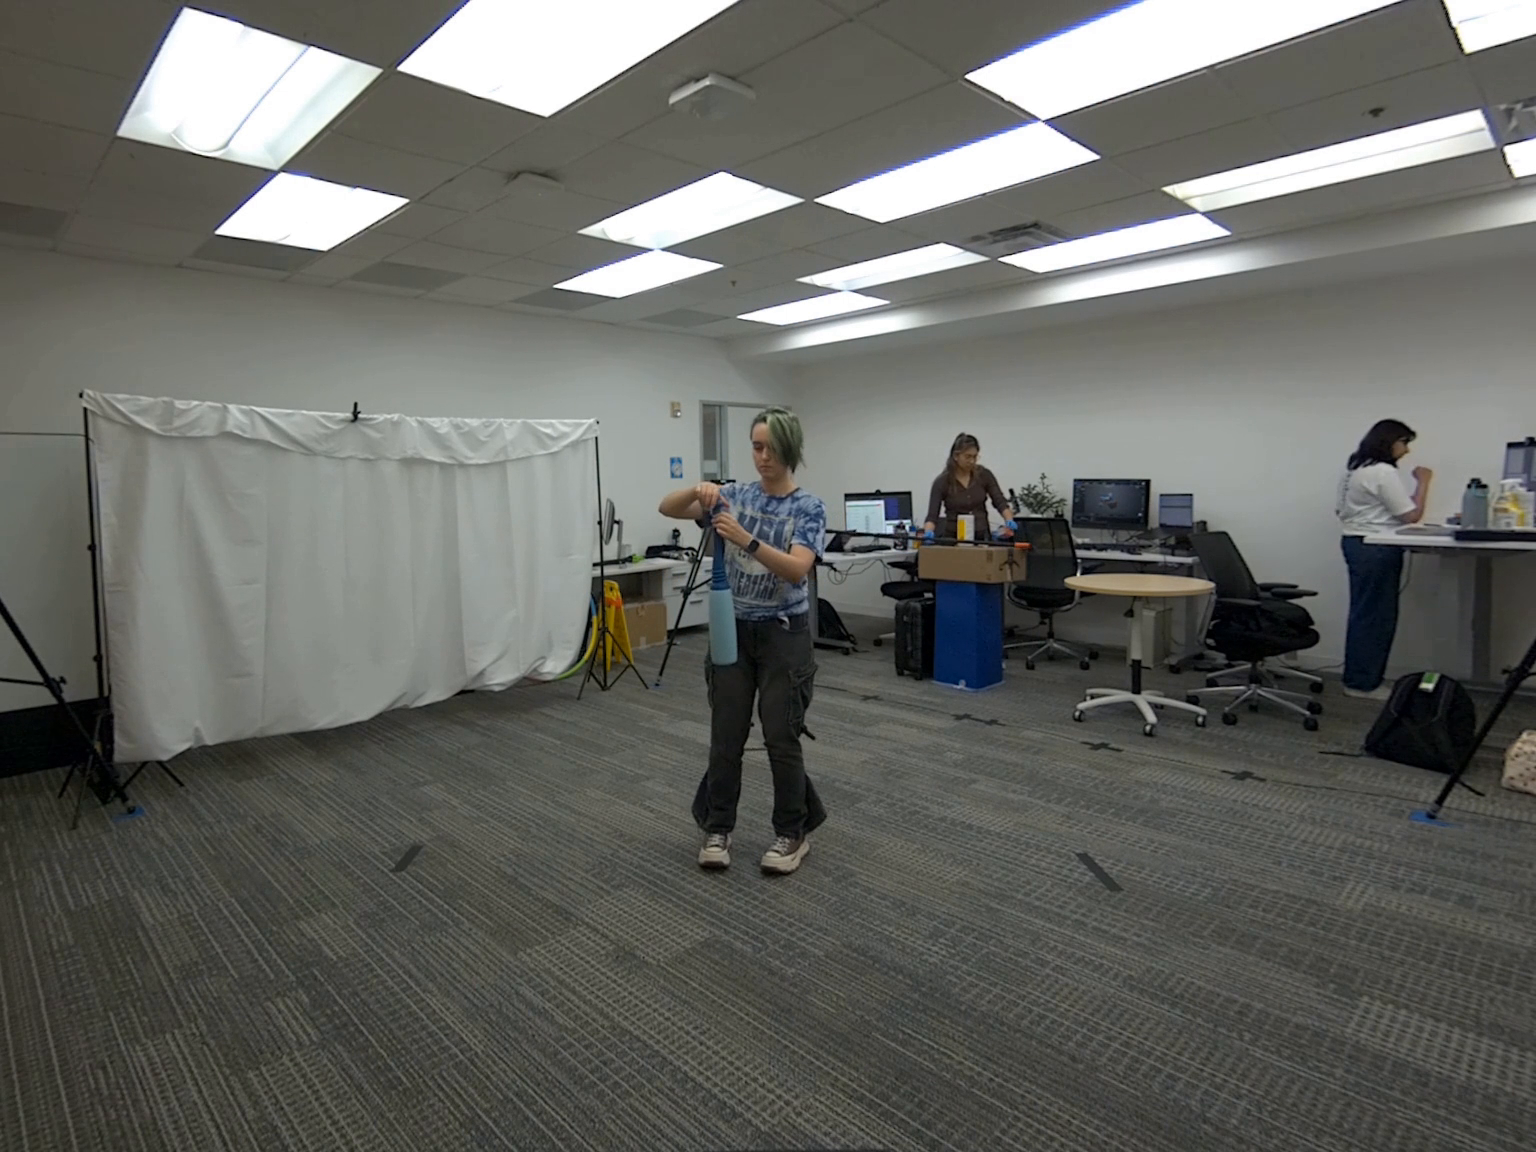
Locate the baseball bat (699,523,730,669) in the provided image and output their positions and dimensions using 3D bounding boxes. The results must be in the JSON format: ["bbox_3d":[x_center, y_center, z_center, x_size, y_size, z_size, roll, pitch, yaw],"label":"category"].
[{"bbox_3d":[-0.171,0.025,2.812,0.089,0.540,0.090,2,6,-2],"label":"baseball bat"}]
